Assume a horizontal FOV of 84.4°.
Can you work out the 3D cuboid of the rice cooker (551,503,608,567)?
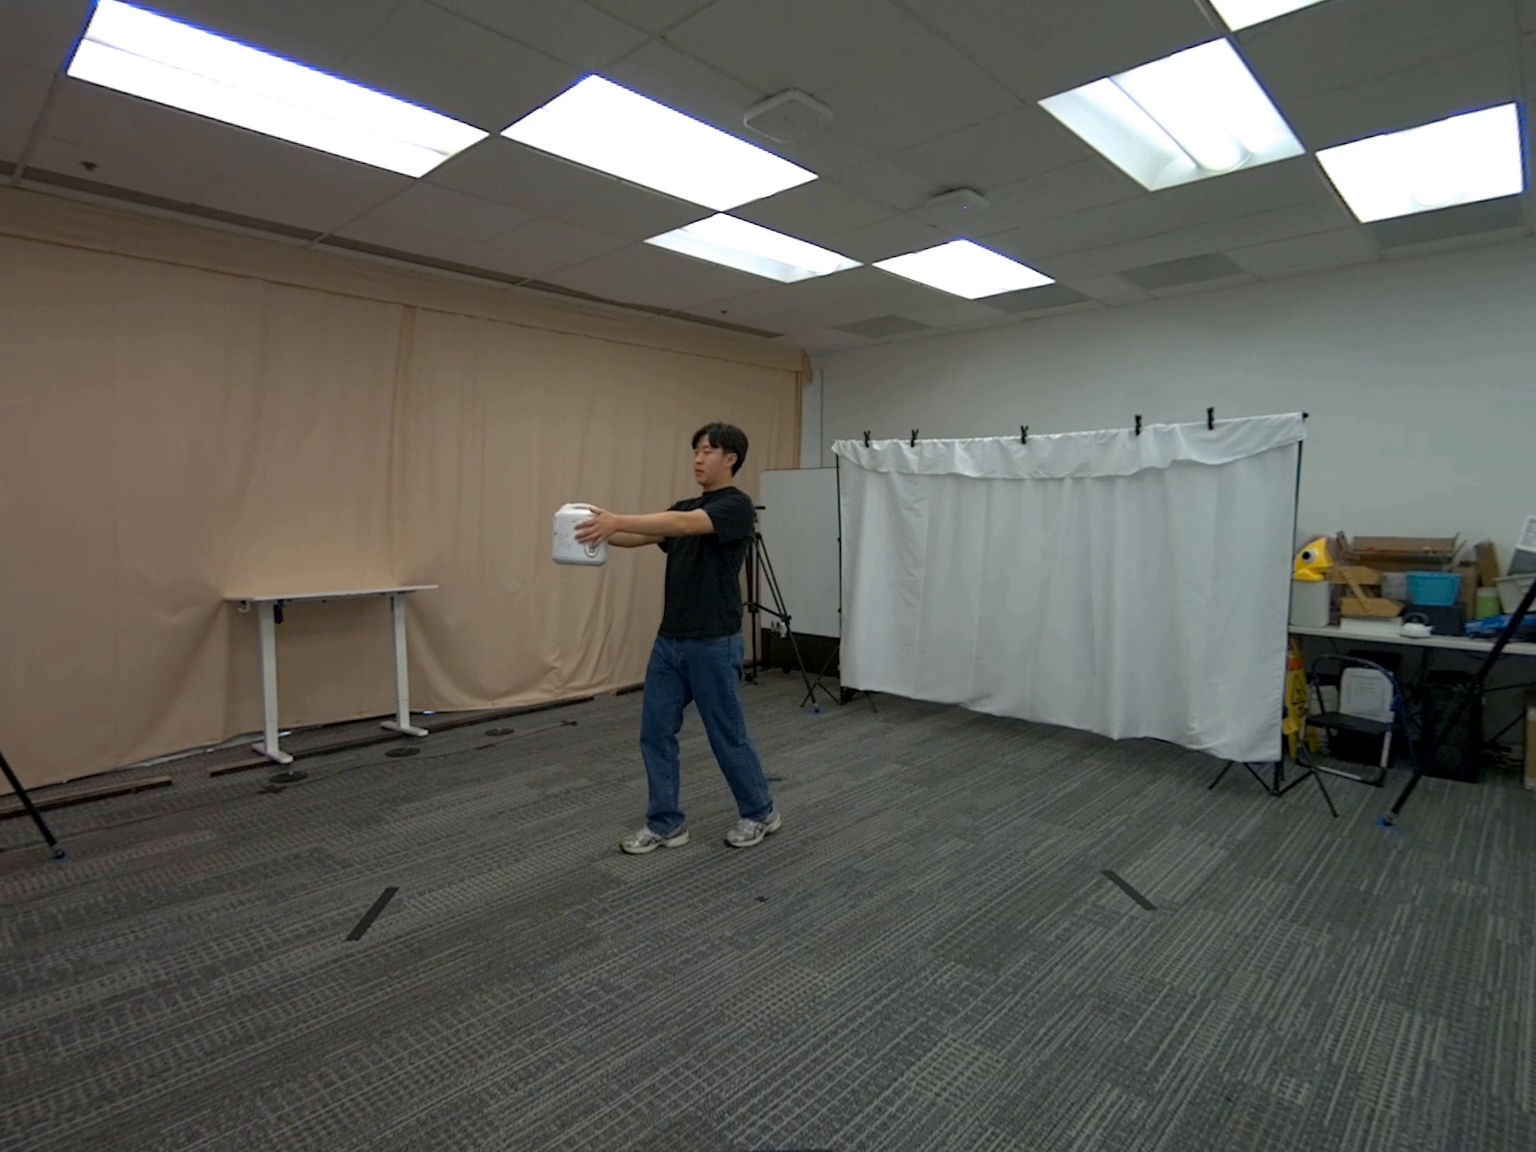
[{"bbox_3d":[-0.696,-0.154,3.125,0.214,0.233,0.224,3,1,-35],"label":"rice cooker"}]
